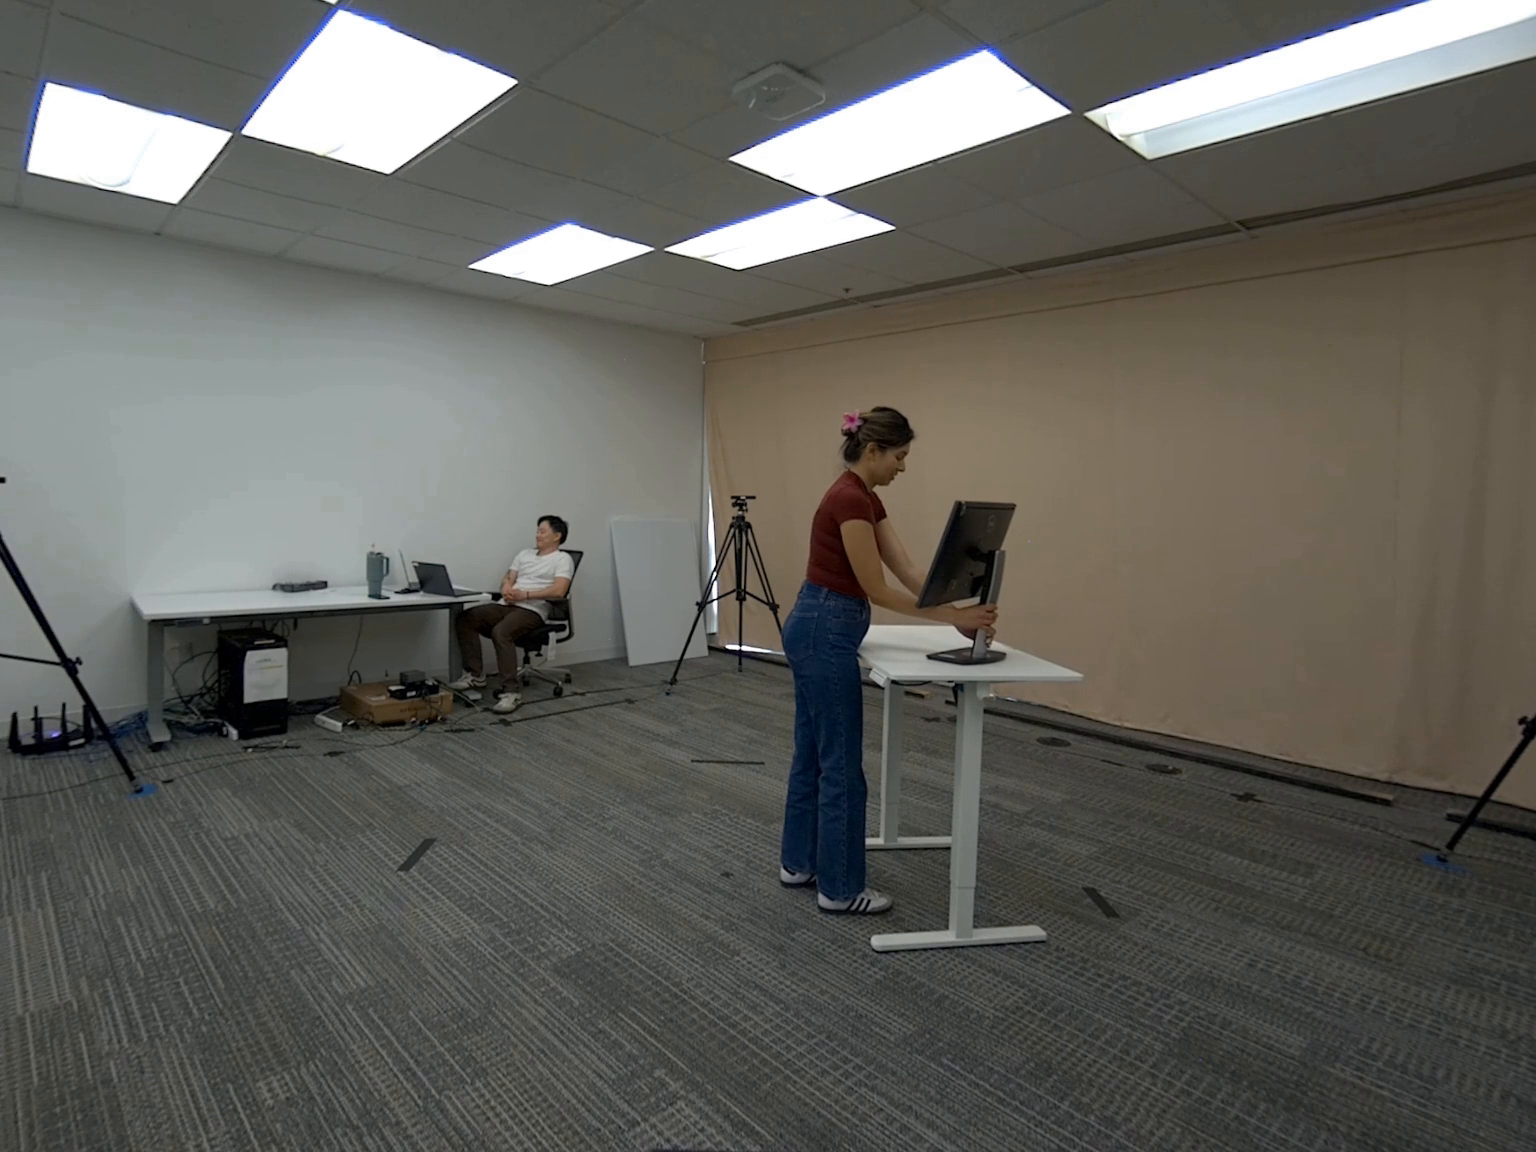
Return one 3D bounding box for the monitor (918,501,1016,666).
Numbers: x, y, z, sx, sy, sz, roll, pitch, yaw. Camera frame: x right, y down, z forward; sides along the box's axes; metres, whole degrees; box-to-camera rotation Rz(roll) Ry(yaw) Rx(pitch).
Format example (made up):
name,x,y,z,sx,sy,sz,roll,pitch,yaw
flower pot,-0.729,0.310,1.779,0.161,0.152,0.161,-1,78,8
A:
name,x,y,z,sx,sy,sz,roll,pitch,yaw
monitor,0.675,0.018,2.740,0.192,0.520,0.528,8,7,32
